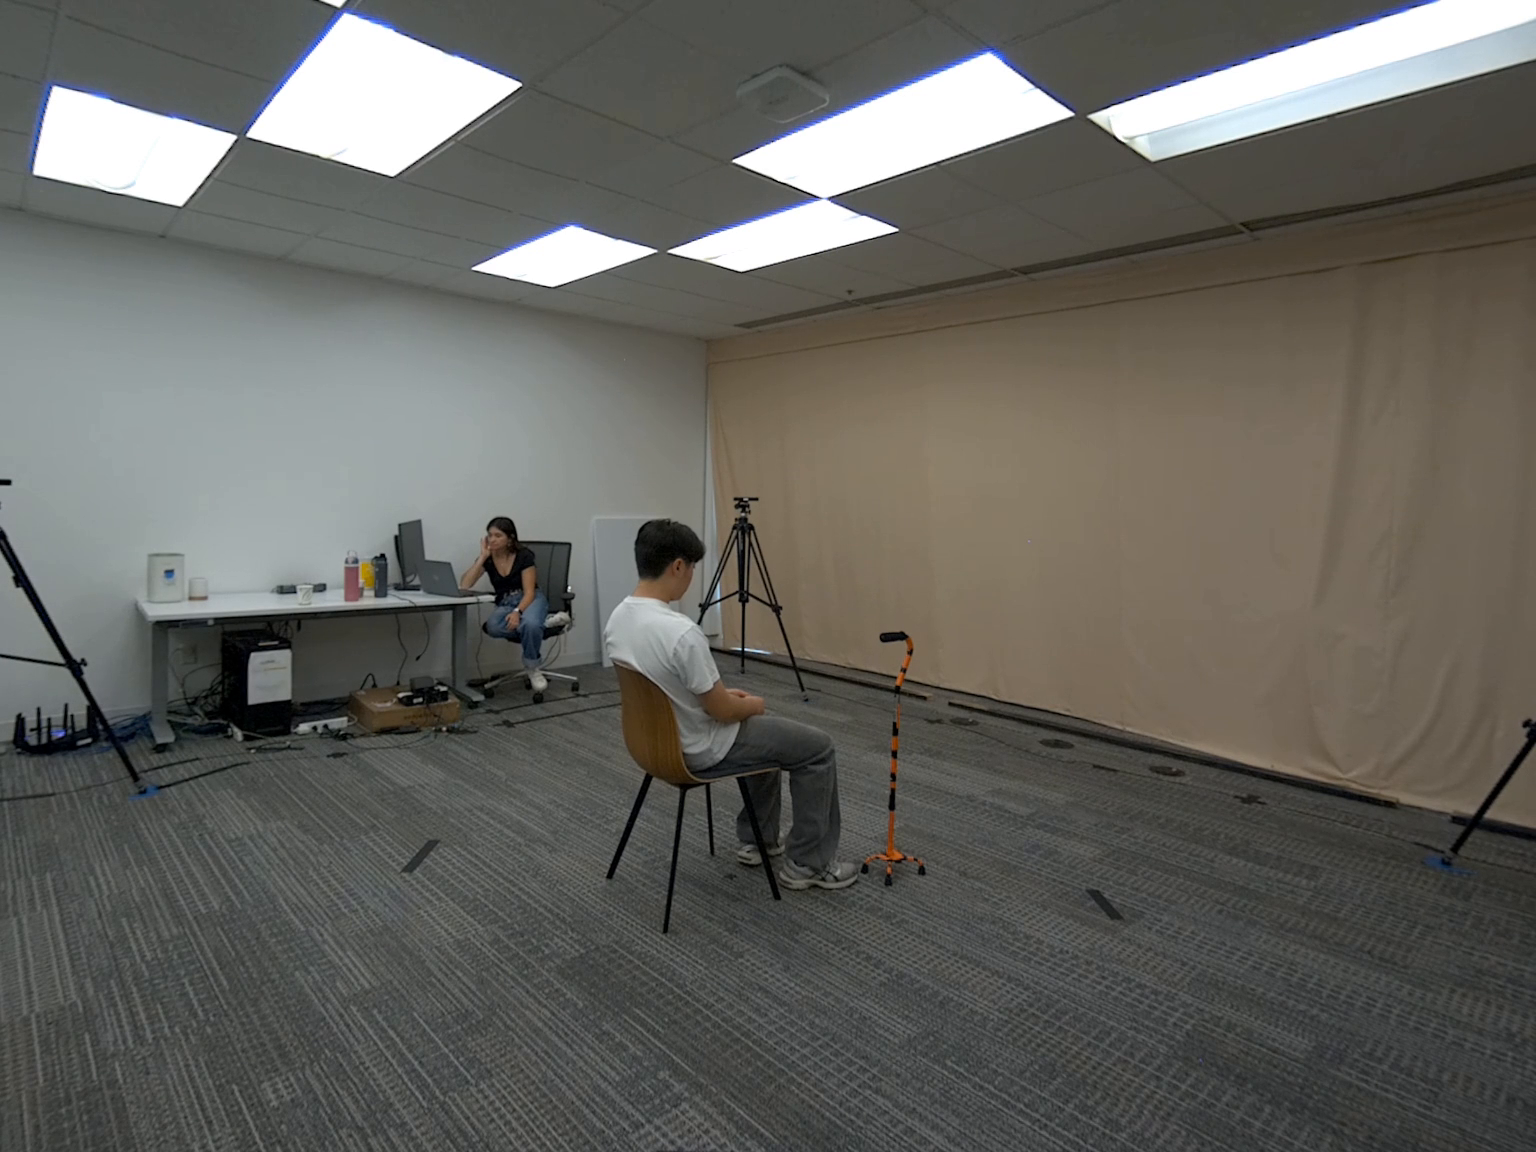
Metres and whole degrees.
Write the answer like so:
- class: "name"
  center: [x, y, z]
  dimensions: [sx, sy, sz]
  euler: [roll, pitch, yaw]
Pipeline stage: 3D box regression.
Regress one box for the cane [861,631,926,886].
- class: "cane"
  center: [0.482, 0.664, 3.135]
  dimensions: [0.202, 0.906, 0.155]
  euler: [0, 3, -37]
